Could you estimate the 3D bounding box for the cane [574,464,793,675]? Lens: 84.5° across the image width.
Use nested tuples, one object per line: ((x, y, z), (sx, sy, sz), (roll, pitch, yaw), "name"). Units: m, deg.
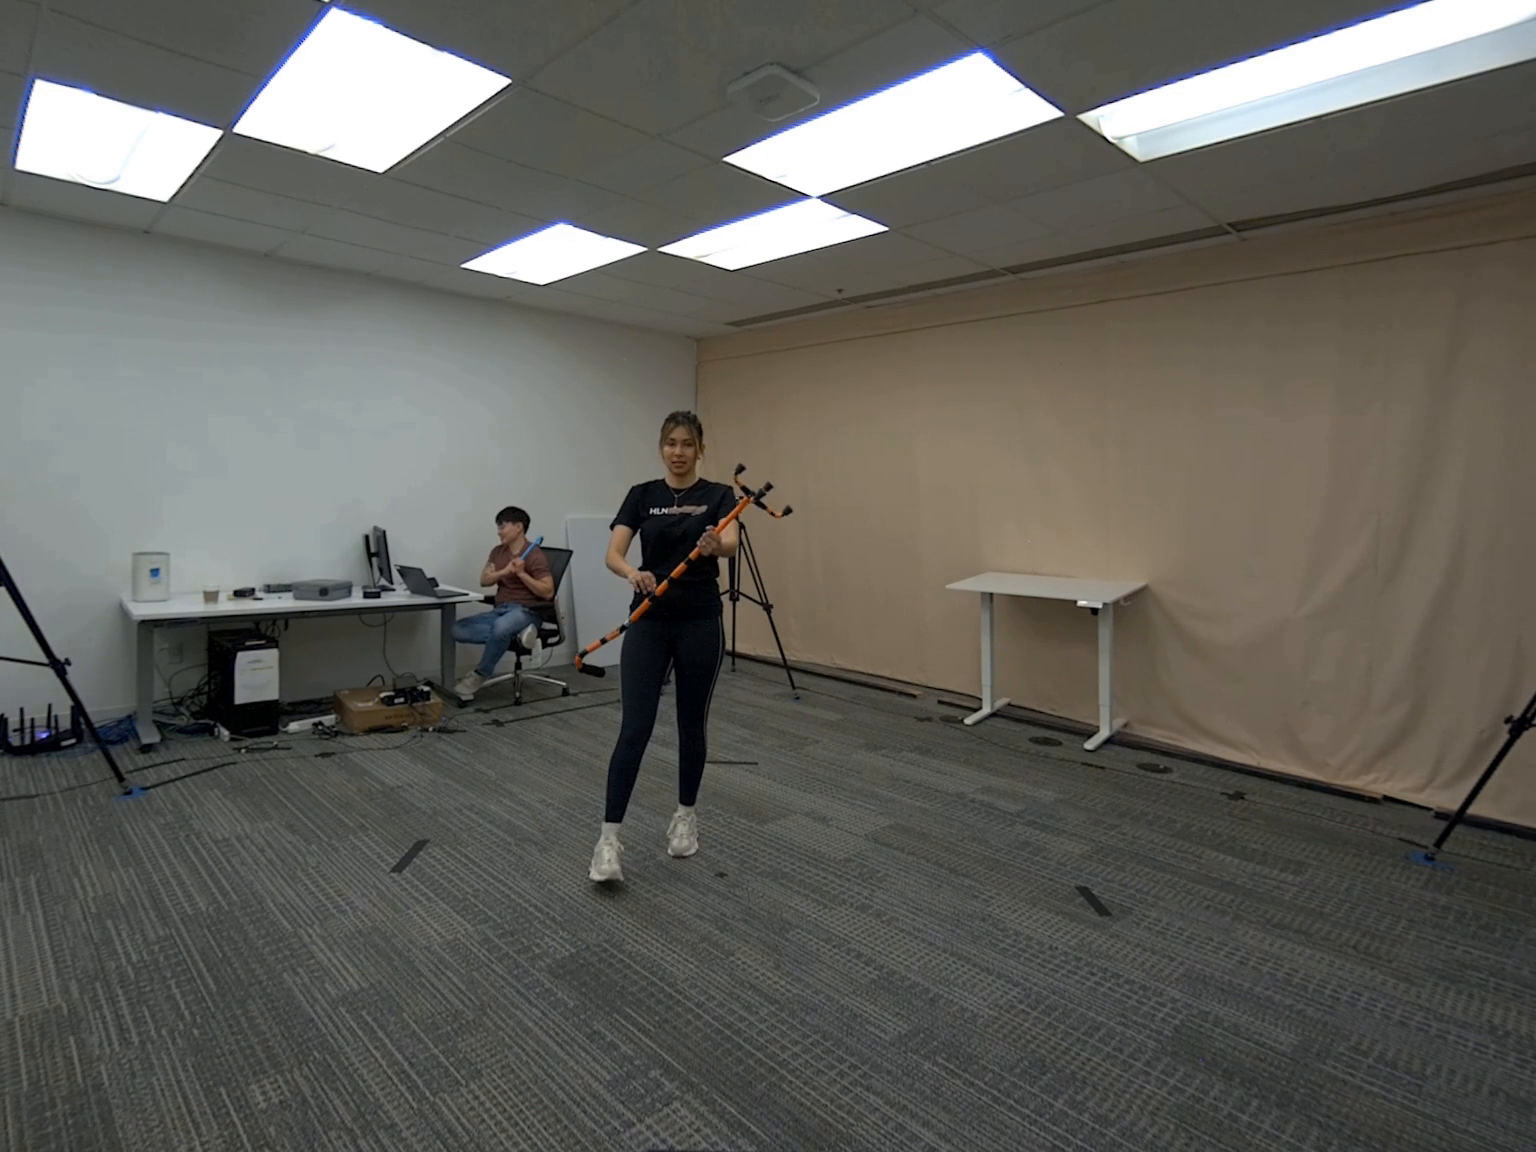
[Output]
((-0.328, 0.025, 2.775), (0.156, 0.908, 0.200), (53, 15, 30), "cane")
